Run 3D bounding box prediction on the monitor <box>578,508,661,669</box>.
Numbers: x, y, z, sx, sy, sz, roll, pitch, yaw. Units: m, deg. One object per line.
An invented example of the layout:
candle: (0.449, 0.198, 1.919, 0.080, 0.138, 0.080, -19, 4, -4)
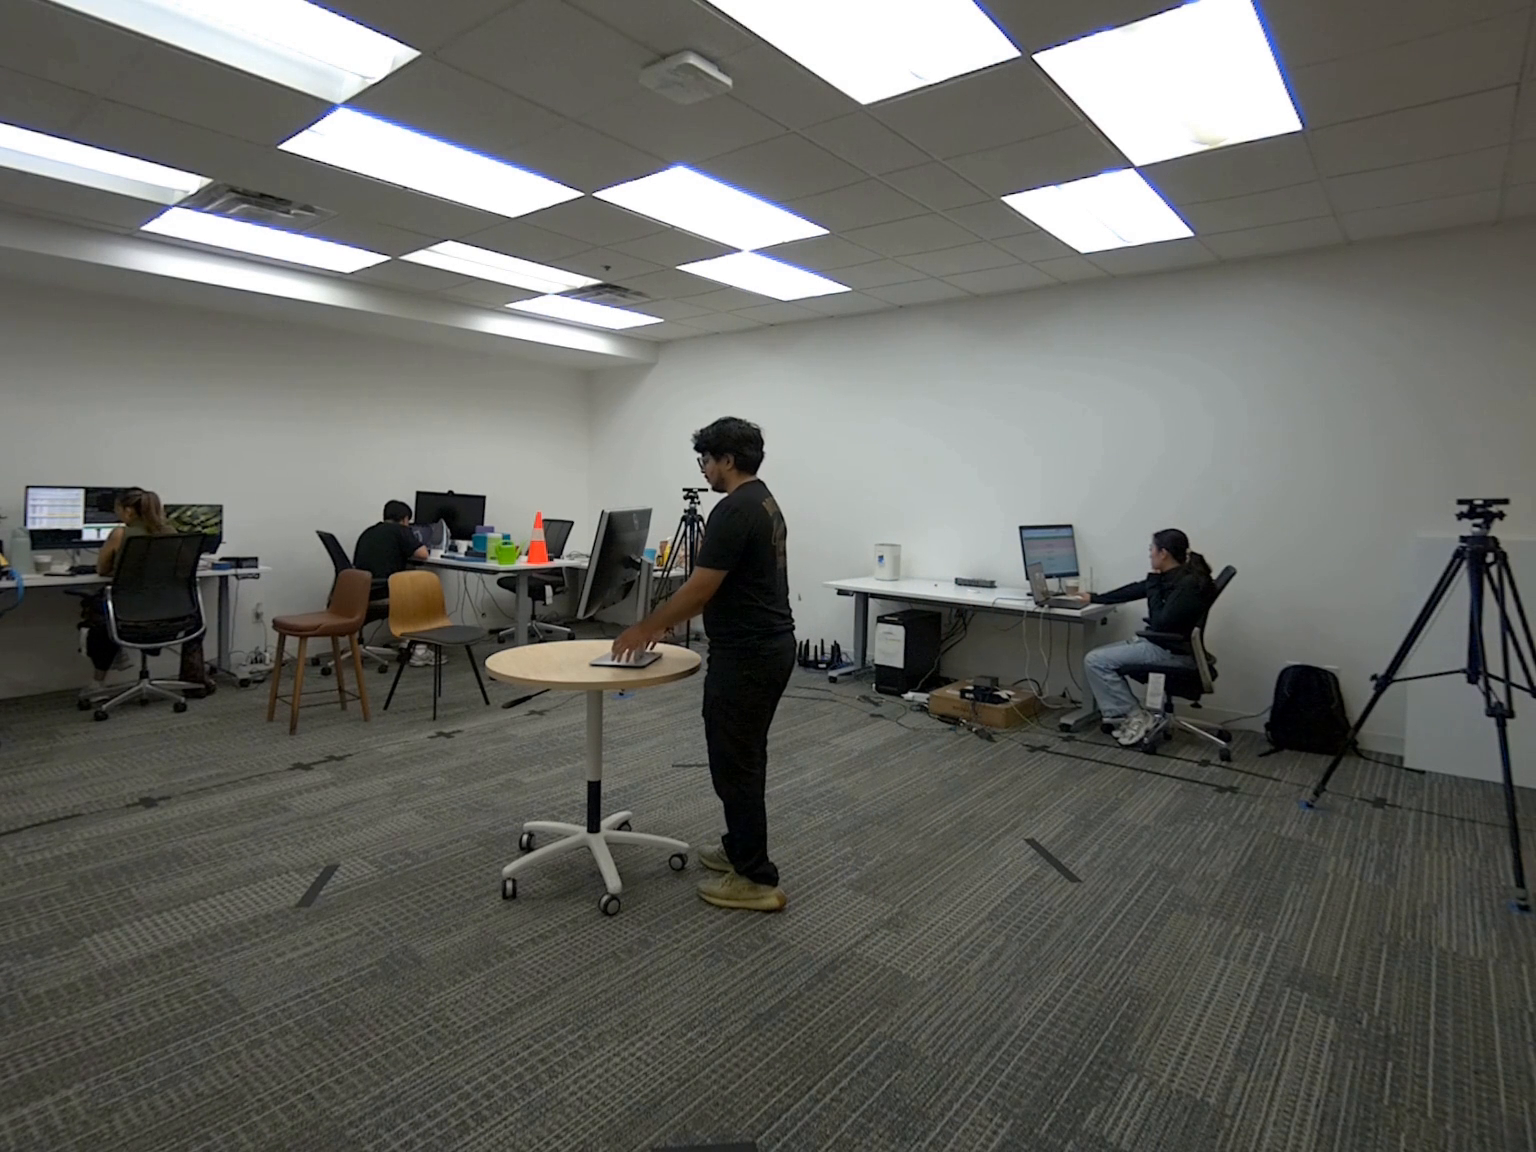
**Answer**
monitor: (-0.486, 0.036, 3.007, 0.212, 0.552, 0.561, 7, 5, 7)
